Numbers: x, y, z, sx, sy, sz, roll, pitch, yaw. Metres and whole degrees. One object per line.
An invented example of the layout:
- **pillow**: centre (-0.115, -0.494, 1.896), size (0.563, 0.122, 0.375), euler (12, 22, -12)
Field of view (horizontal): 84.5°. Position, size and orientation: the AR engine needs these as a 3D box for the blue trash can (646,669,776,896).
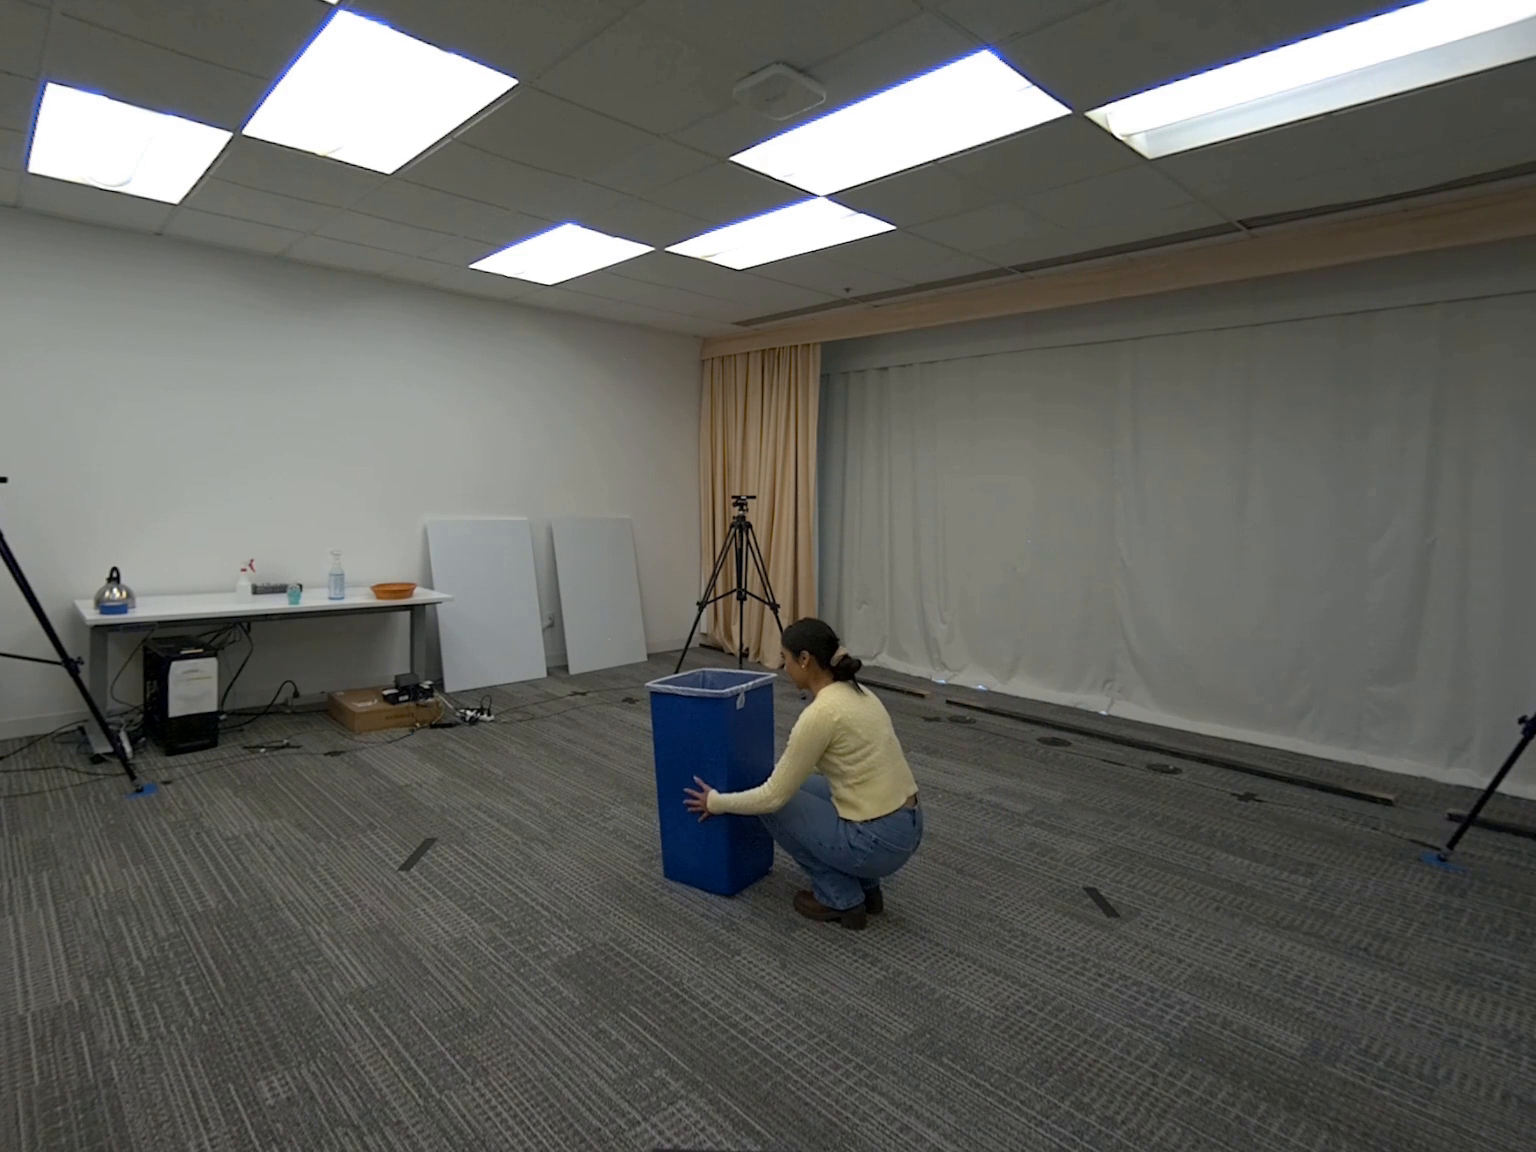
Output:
- **blue trash can**: centre (-0.206, 0.729, 3.100), size (0.382, 0.713, 0.370), euler (0, 2, 33)
